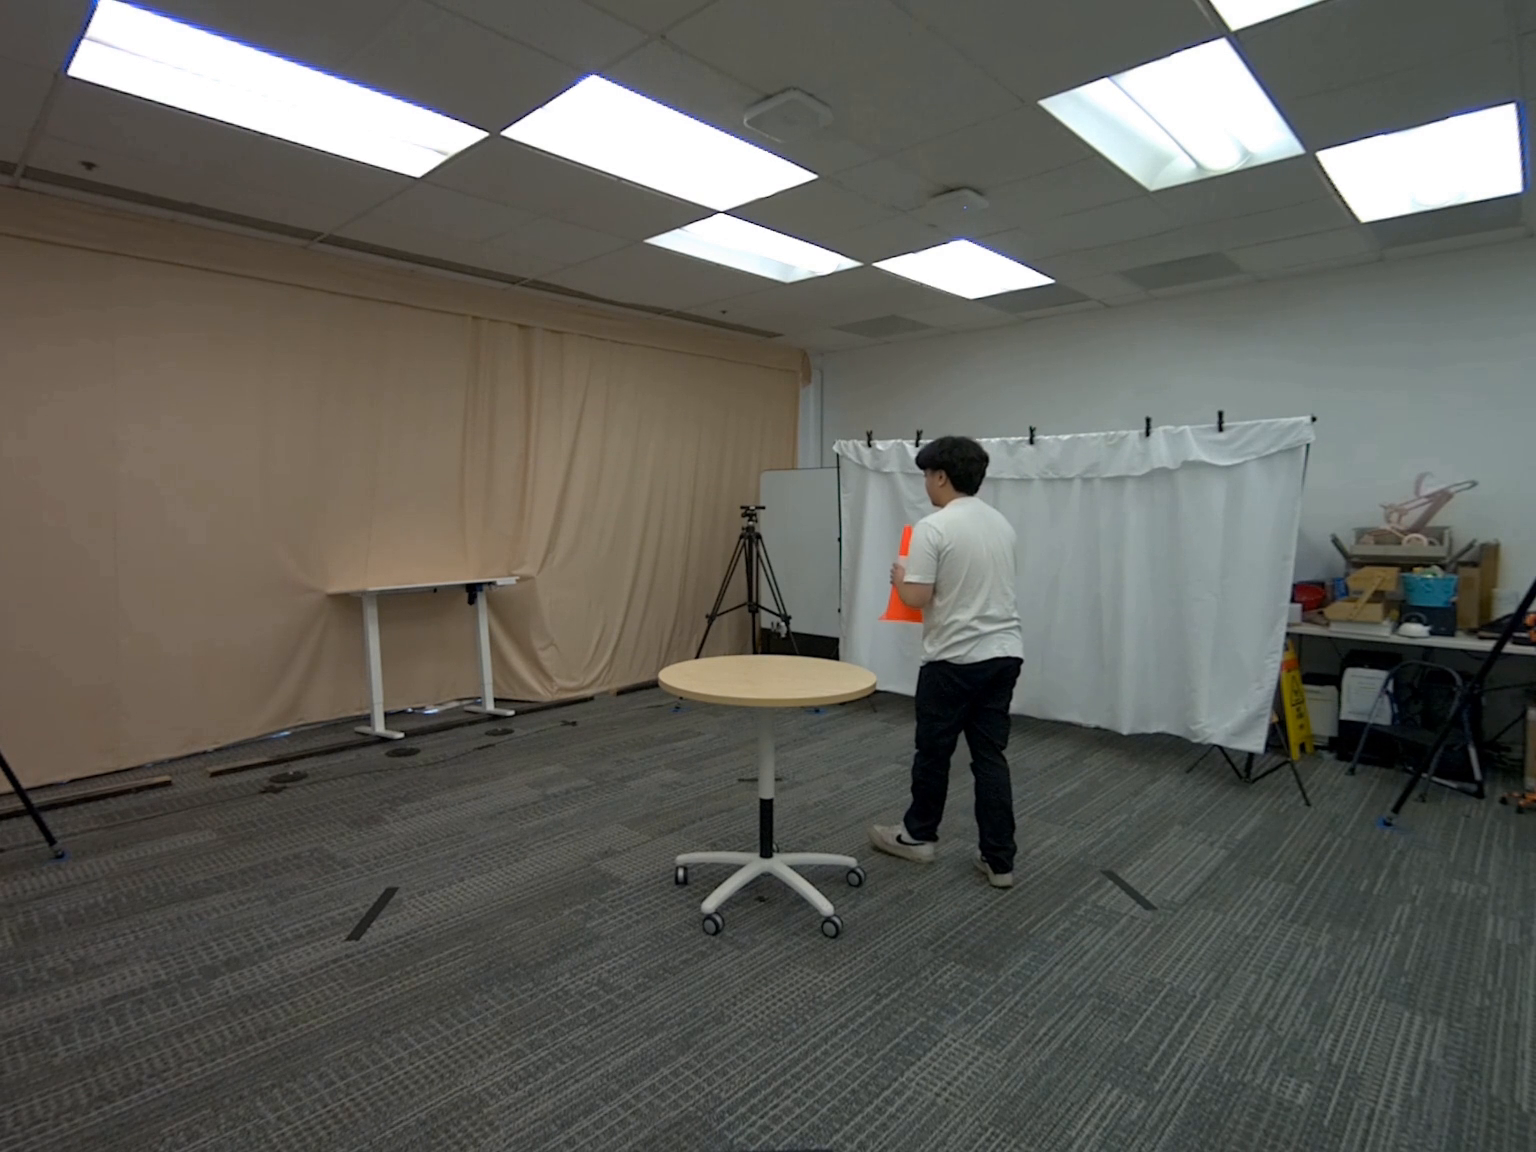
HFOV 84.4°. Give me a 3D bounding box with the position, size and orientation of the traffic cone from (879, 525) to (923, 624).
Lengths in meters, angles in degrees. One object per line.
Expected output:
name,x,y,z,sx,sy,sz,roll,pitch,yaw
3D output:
traffic cone,0.572,-0.016,3.463,0.211,0.382,0.198,4,6,27
